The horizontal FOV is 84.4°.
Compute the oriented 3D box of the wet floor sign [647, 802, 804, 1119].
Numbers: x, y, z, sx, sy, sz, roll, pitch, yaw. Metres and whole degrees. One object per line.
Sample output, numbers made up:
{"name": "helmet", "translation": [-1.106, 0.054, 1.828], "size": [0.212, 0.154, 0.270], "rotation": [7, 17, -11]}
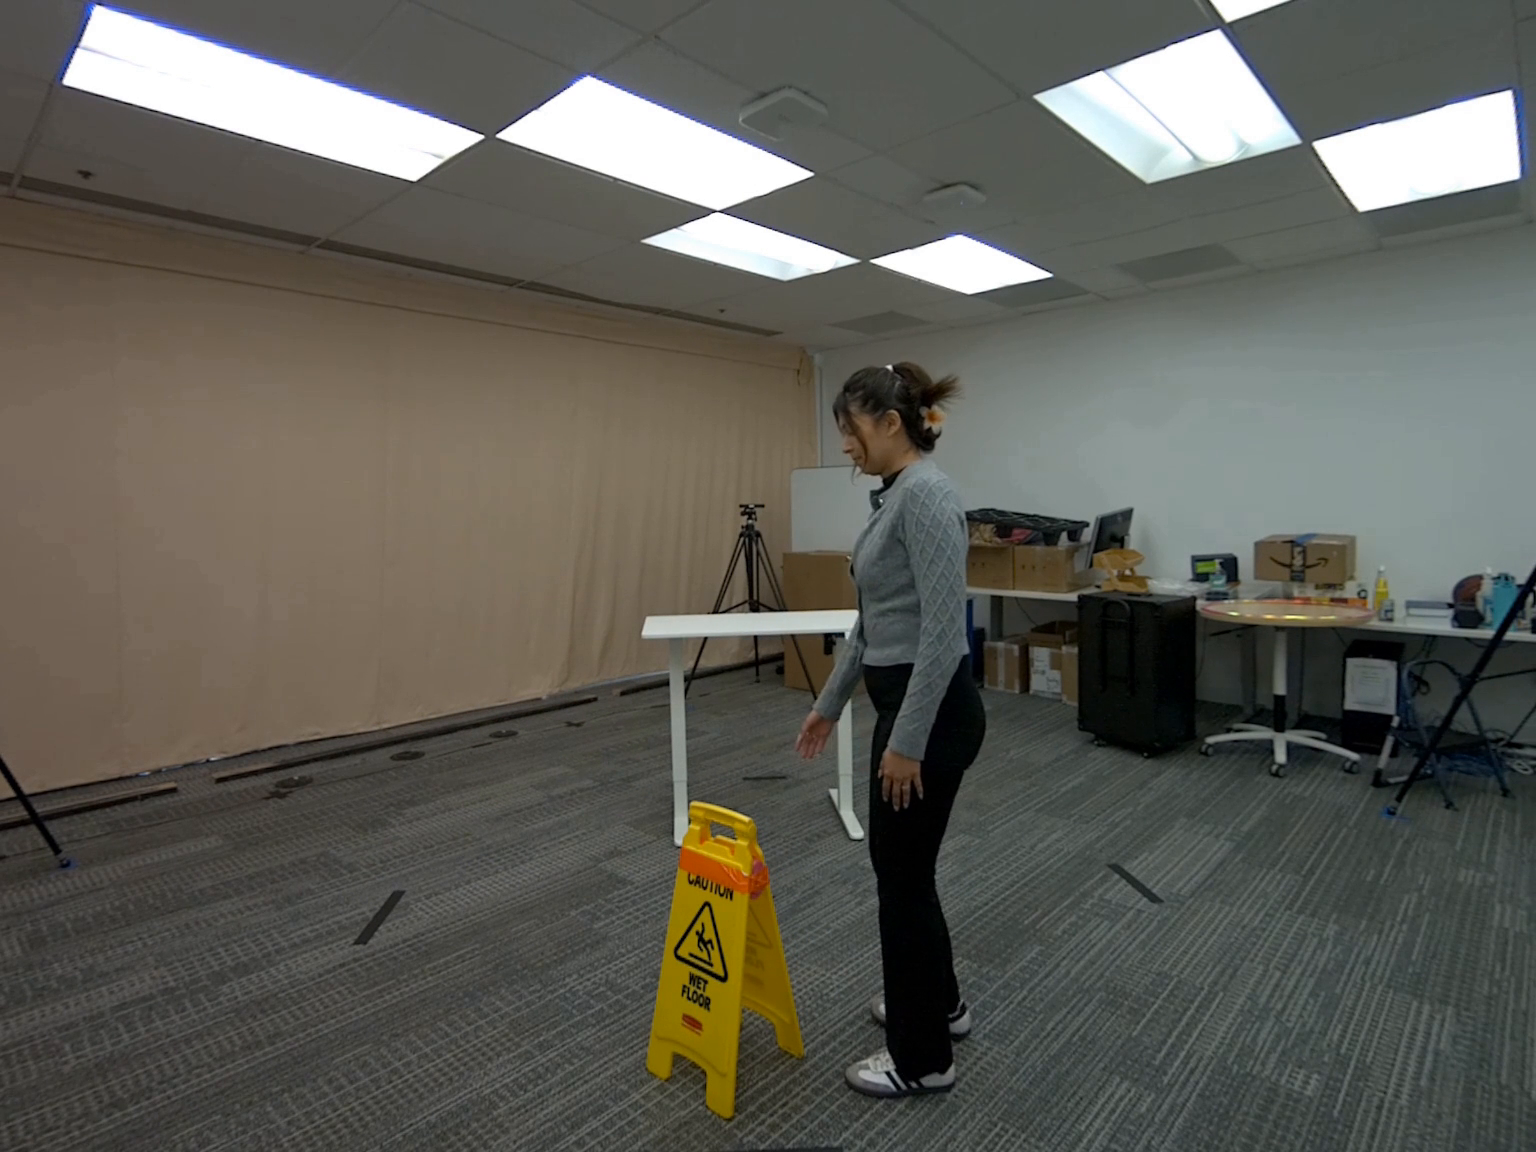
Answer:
{"name": "wet floor sign", "translation": [-0.109, 0.902, 2.082], "size": [0.291, 0.644, 0.281], "rotation": [1, 4, 41]}
